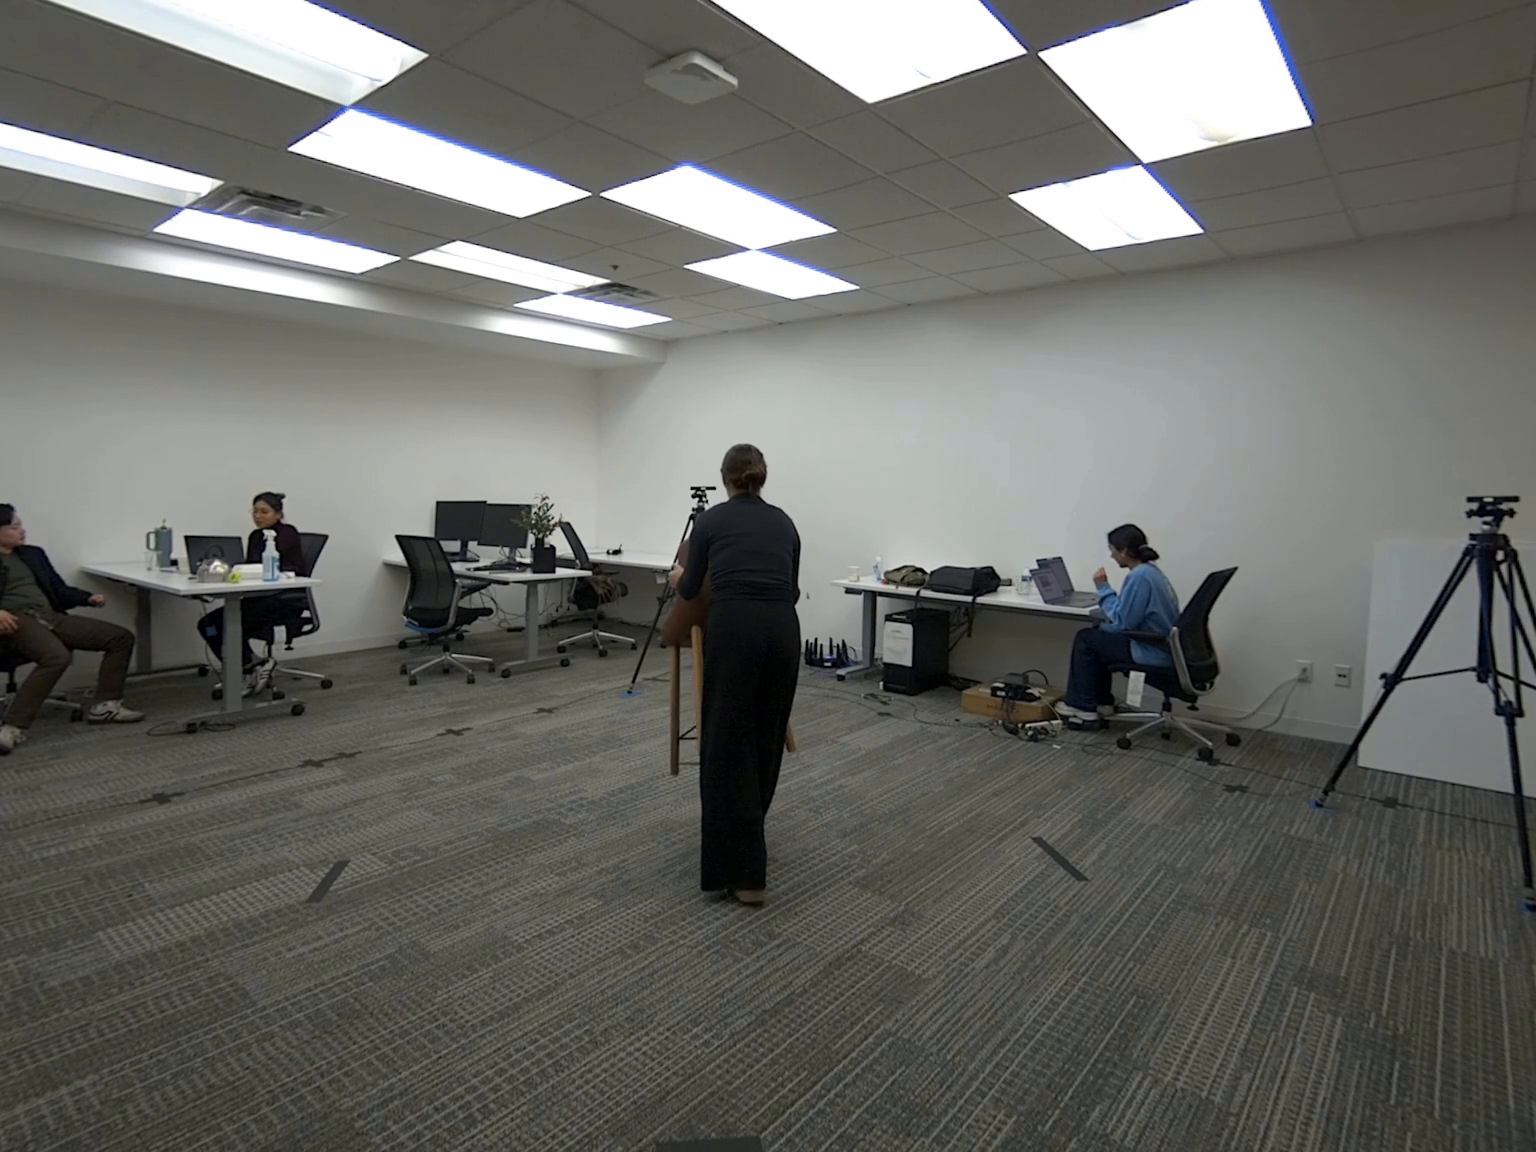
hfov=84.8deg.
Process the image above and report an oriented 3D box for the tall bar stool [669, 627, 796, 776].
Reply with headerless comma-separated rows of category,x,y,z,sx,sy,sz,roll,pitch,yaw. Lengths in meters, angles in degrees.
tall bar stool,-0.197,0.332,3.517,0.448,0.909,0.466,1,-22,-19
